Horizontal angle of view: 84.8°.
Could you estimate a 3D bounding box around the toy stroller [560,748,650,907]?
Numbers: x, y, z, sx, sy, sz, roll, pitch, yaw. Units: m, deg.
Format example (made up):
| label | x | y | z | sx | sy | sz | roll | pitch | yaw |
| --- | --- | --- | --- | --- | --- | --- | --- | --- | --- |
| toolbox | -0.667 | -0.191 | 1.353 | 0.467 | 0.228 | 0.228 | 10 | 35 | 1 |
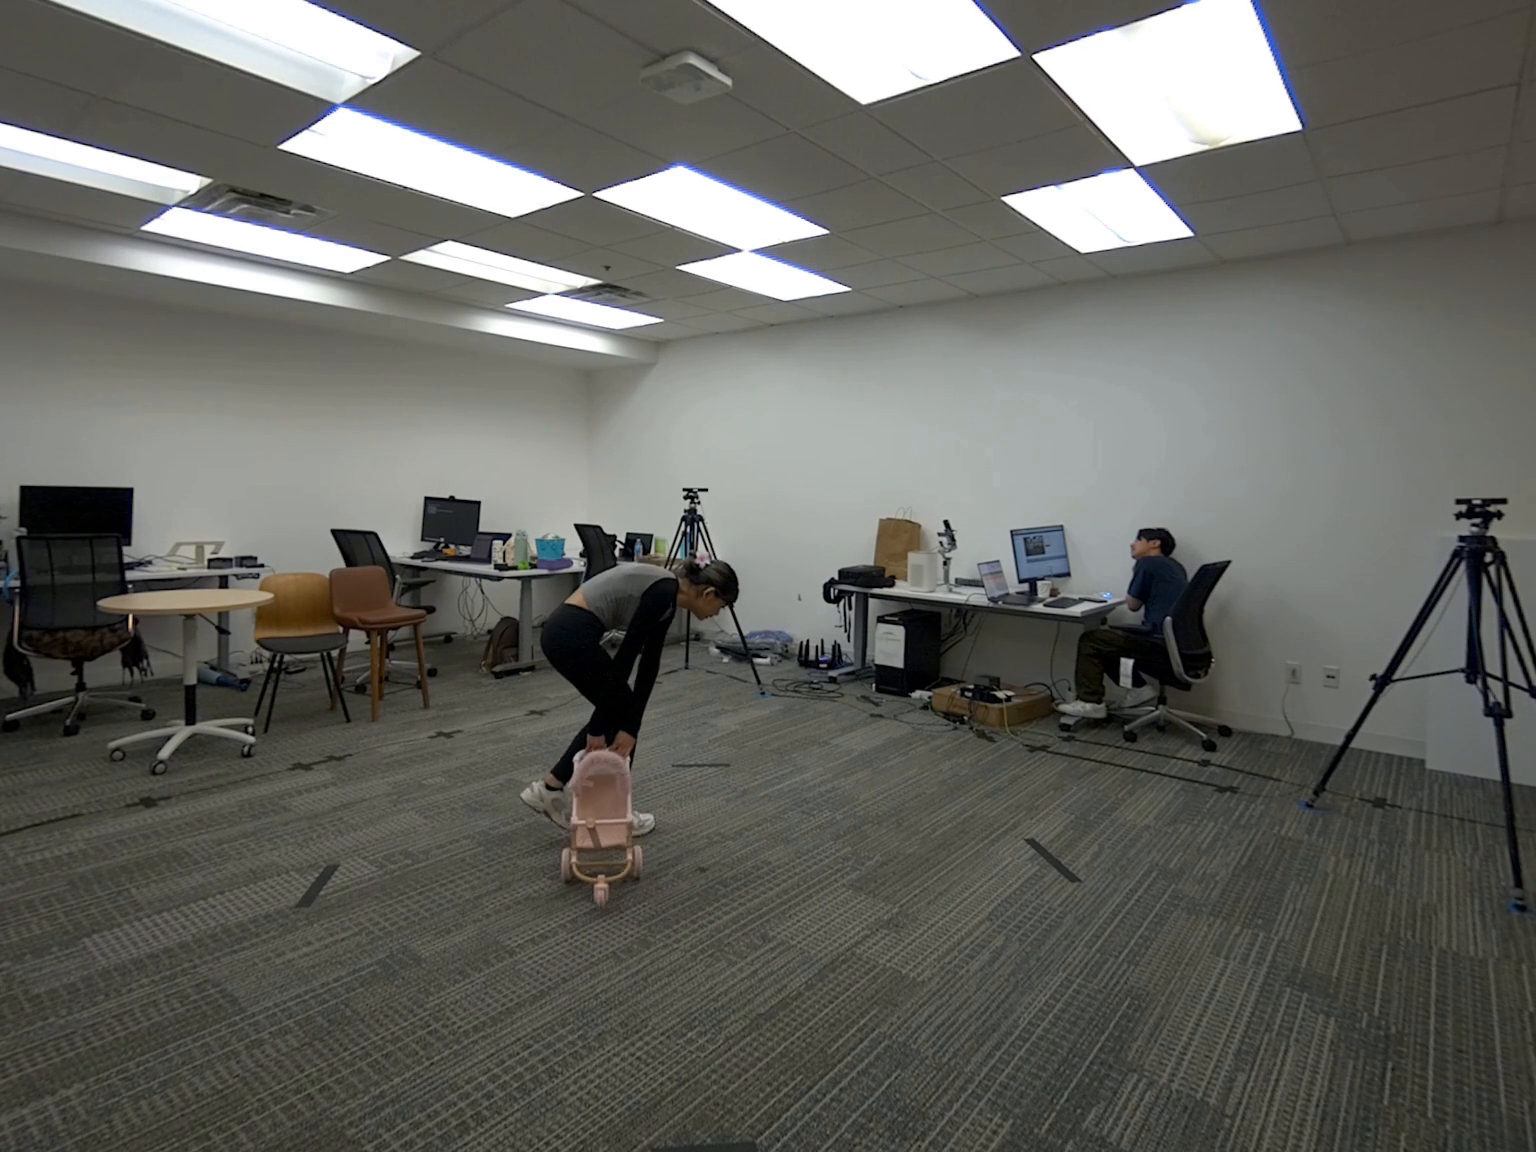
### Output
| label | x | y | z | sx | sy | sz | roll | pitch | yaw |
| --- | --- | --- | --- | --- | --- | --- | --- | --- | --- |
| toy stroller | -0.592 | 0.849 | 2.964 | 0.280 | 0.544 | 0.338 | -1 | -17 | -7 |
